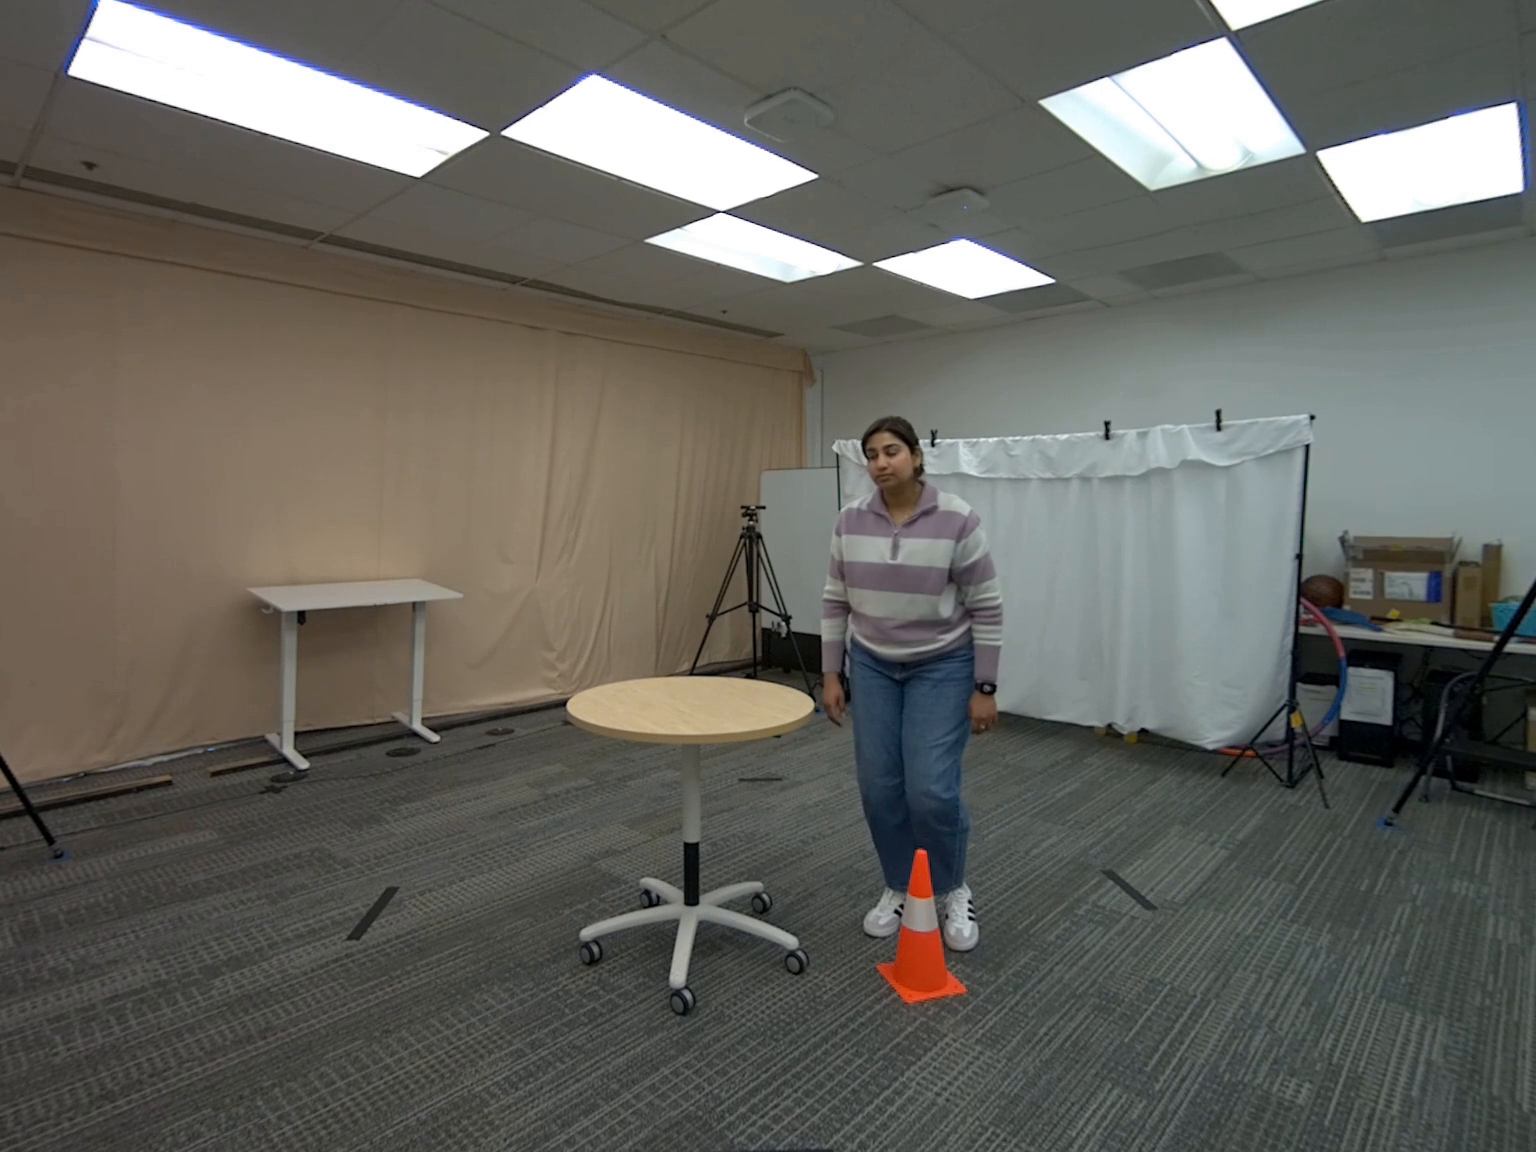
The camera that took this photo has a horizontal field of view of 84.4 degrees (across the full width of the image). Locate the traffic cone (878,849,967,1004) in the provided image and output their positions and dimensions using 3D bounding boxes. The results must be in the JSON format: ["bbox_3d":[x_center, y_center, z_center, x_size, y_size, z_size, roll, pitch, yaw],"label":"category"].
[{"bbox_3d":[0.450,1.001,2.475,0.199,0.383,0.209,-2,3,-20],"label":"traffic cone"}]
